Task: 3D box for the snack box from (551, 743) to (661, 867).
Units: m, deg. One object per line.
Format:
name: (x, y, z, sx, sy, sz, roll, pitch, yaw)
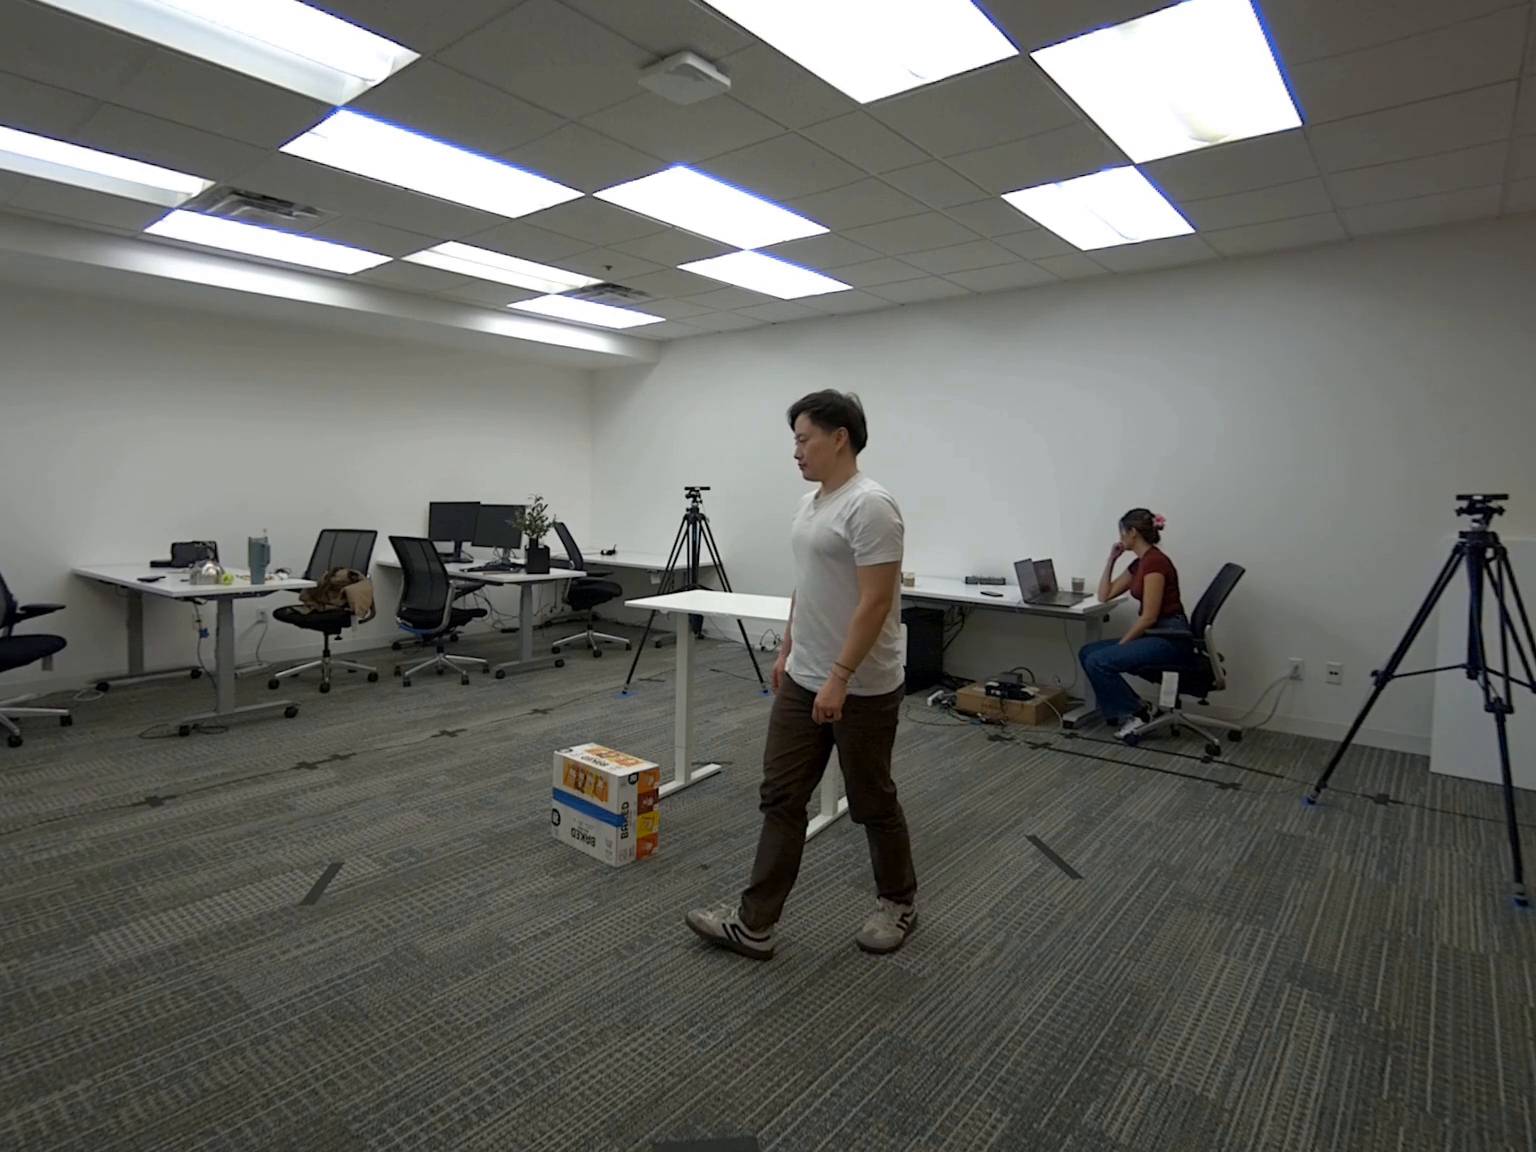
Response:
snack box: (-0.648, 0.872, 3.295, 0.419, 0.340, 0.199, 5, 4, 42)
